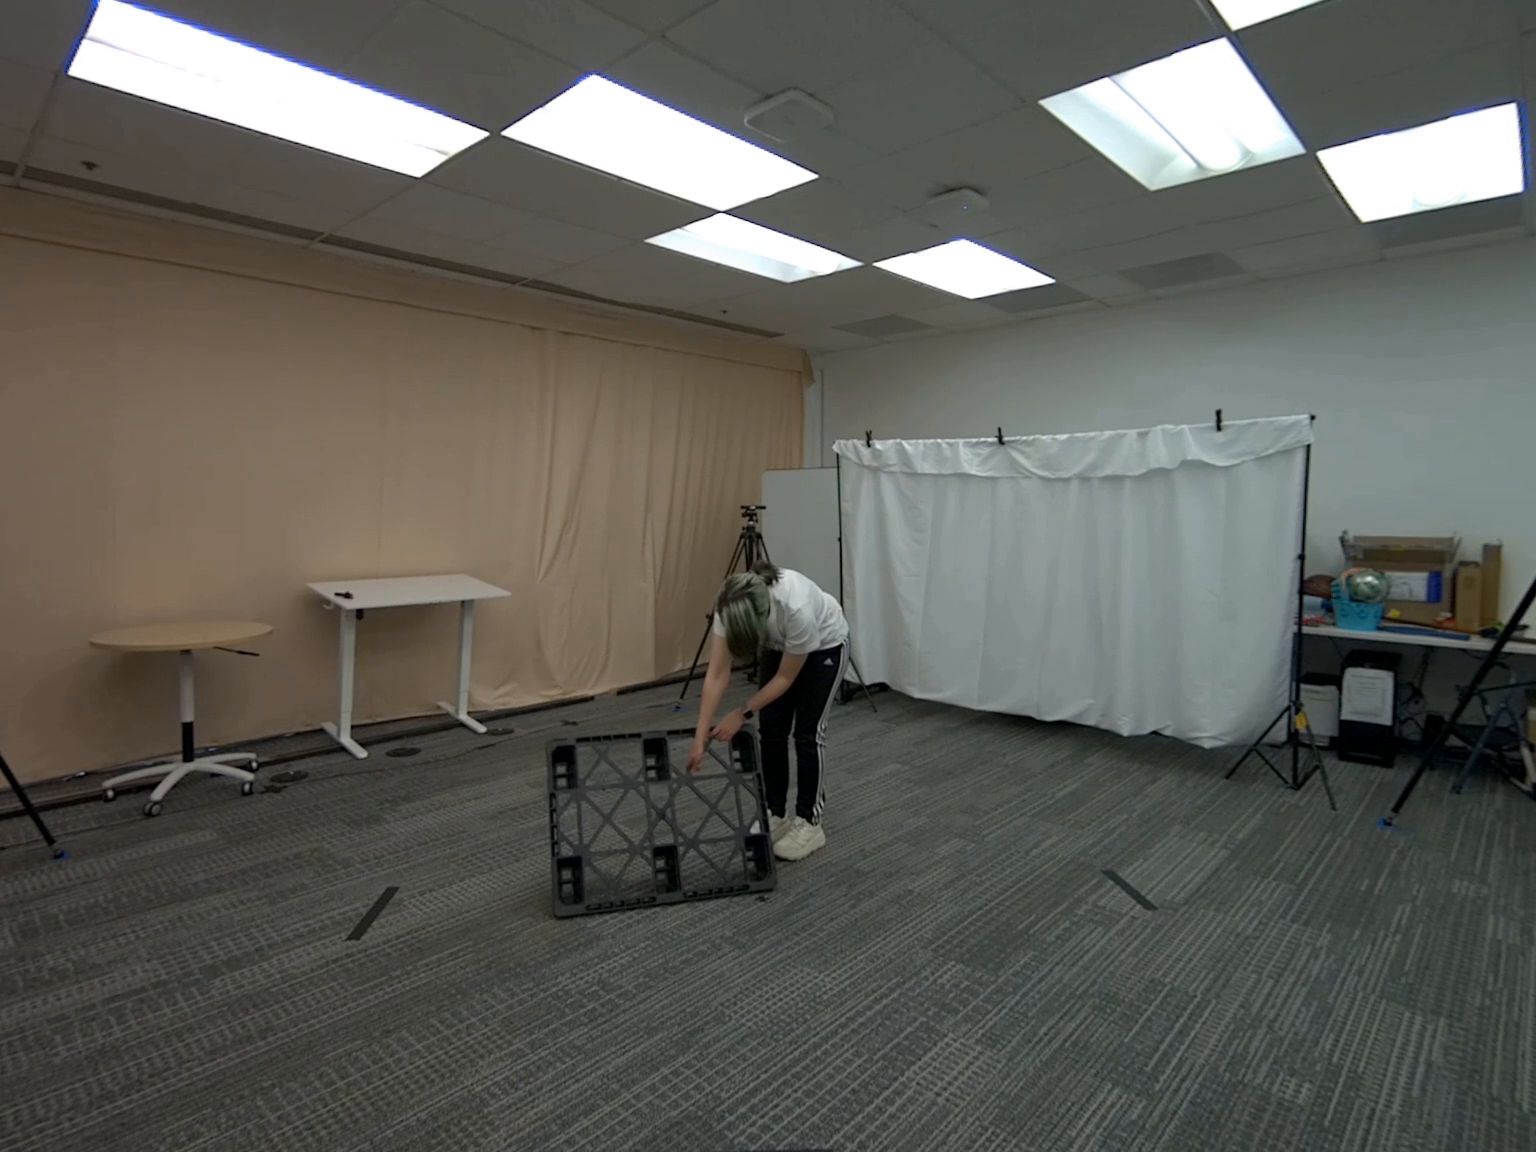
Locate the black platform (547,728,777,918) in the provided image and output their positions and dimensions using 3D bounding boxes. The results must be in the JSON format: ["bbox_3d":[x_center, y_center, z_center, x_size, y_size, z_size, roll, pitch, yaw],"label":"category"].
[{"bbox_3d":[-0.402,0.880,3.098,0.793,0.615,0.143,-2,-24,-15],"label":"black platform"}]
